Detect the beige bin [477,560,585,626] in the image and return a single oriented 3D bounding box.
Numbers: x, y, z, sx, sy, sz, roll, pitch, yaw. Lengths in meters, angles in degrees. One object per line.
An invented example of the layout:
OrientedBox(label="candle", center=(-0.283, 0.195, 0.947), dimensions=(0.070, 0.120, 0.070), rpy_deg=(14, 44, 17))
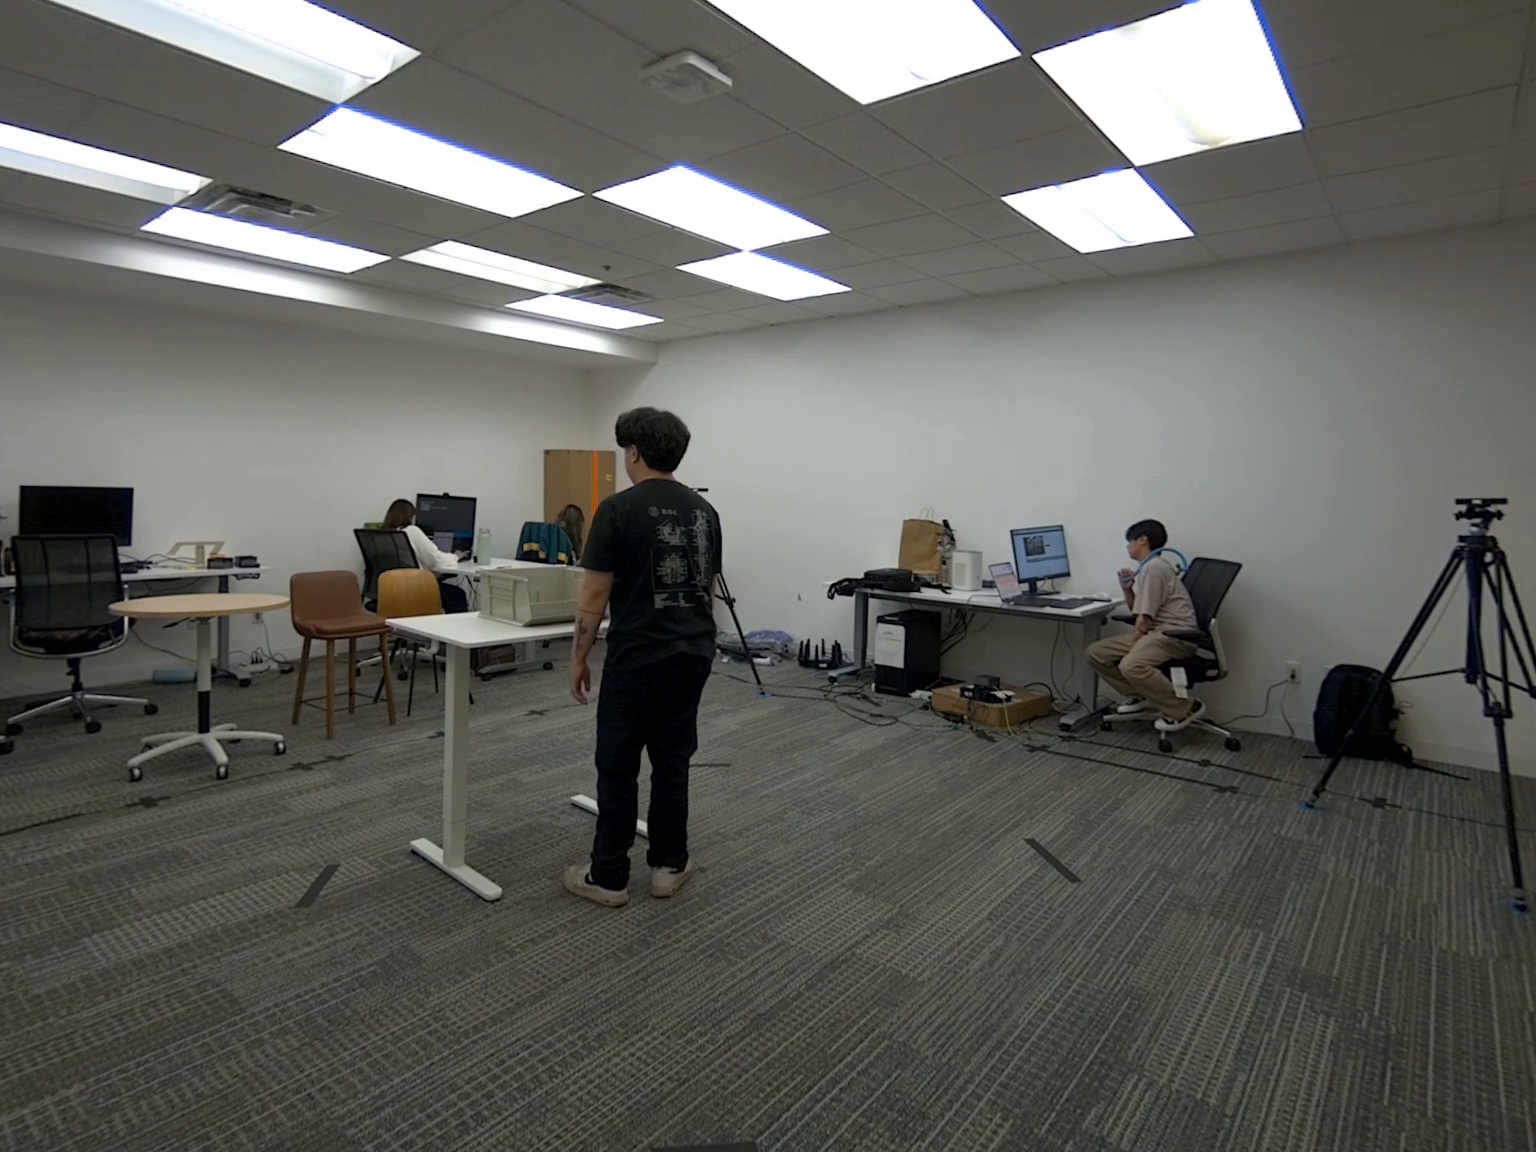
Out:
OrientedBox(label="beige bin", center=(-0.855, 0.073, 3.283), dimensions=(0.390, 0.188, 0.409), rpy_deg=(5, 6, 43))
